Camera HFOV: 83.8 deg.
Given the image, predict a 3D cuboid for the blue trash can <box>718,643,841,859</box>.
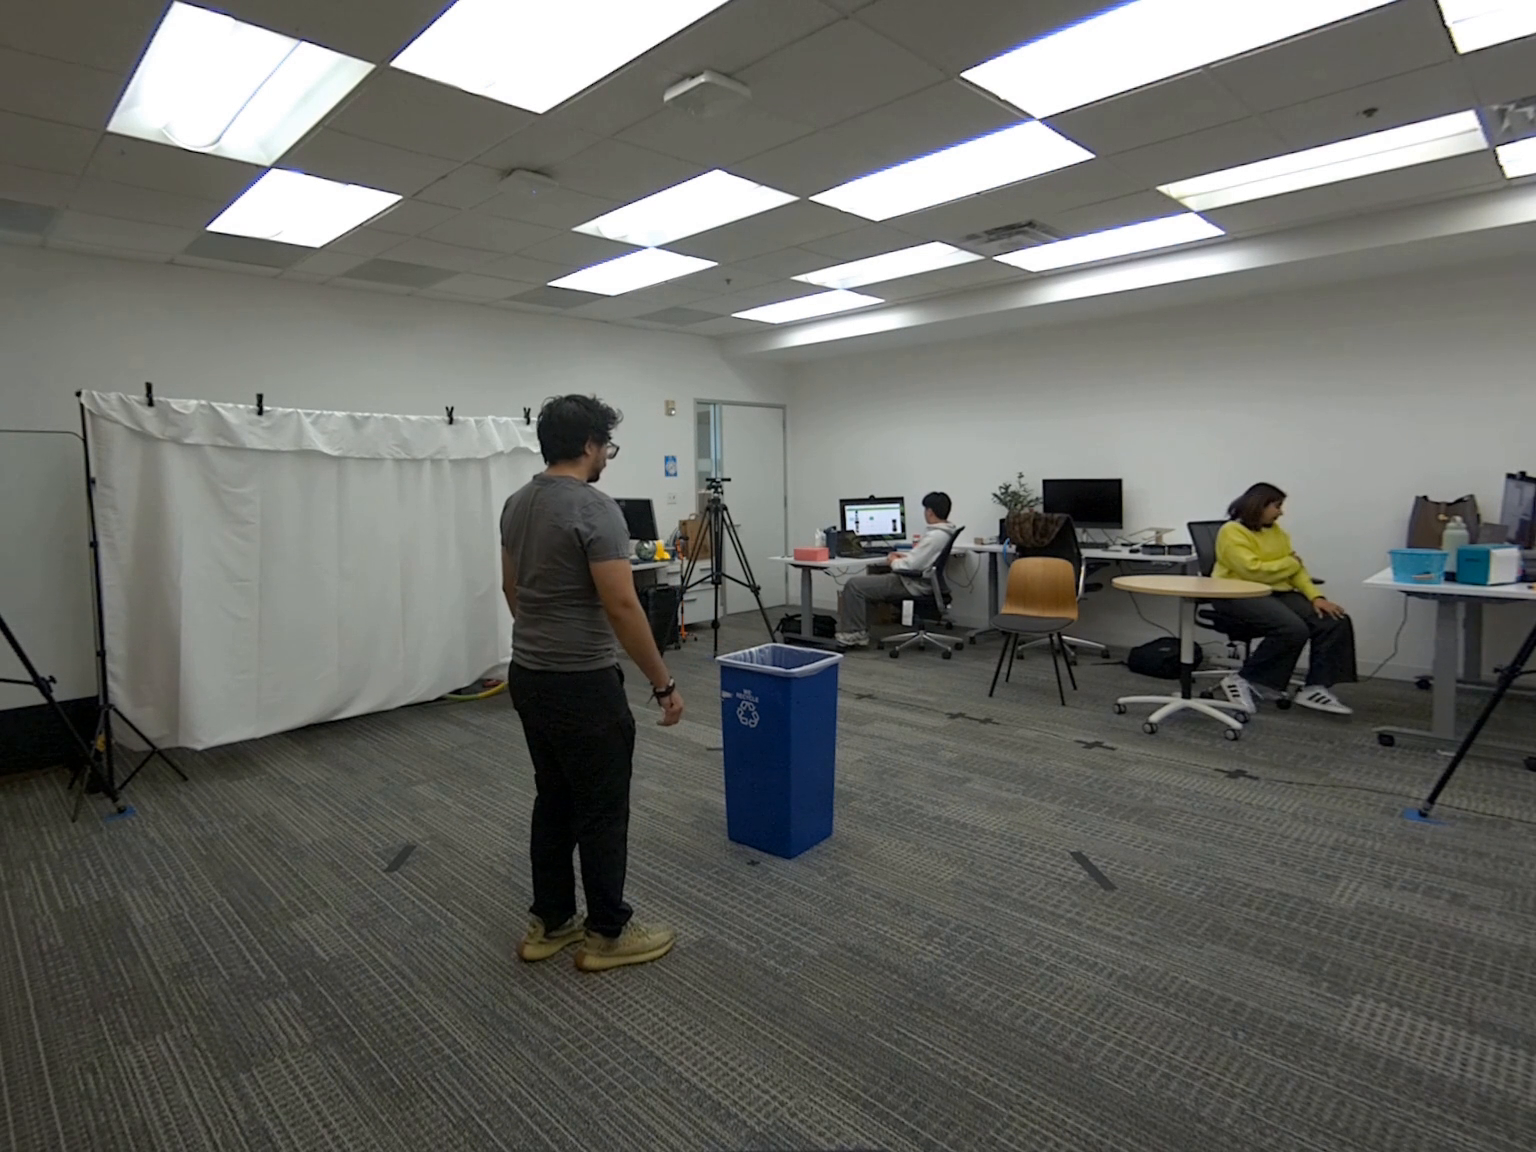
[{"bbox_3d":[0.055,0.660,3.303,0.385,0.711,0.368,3,5,39],"label":"blue trash can"}]
